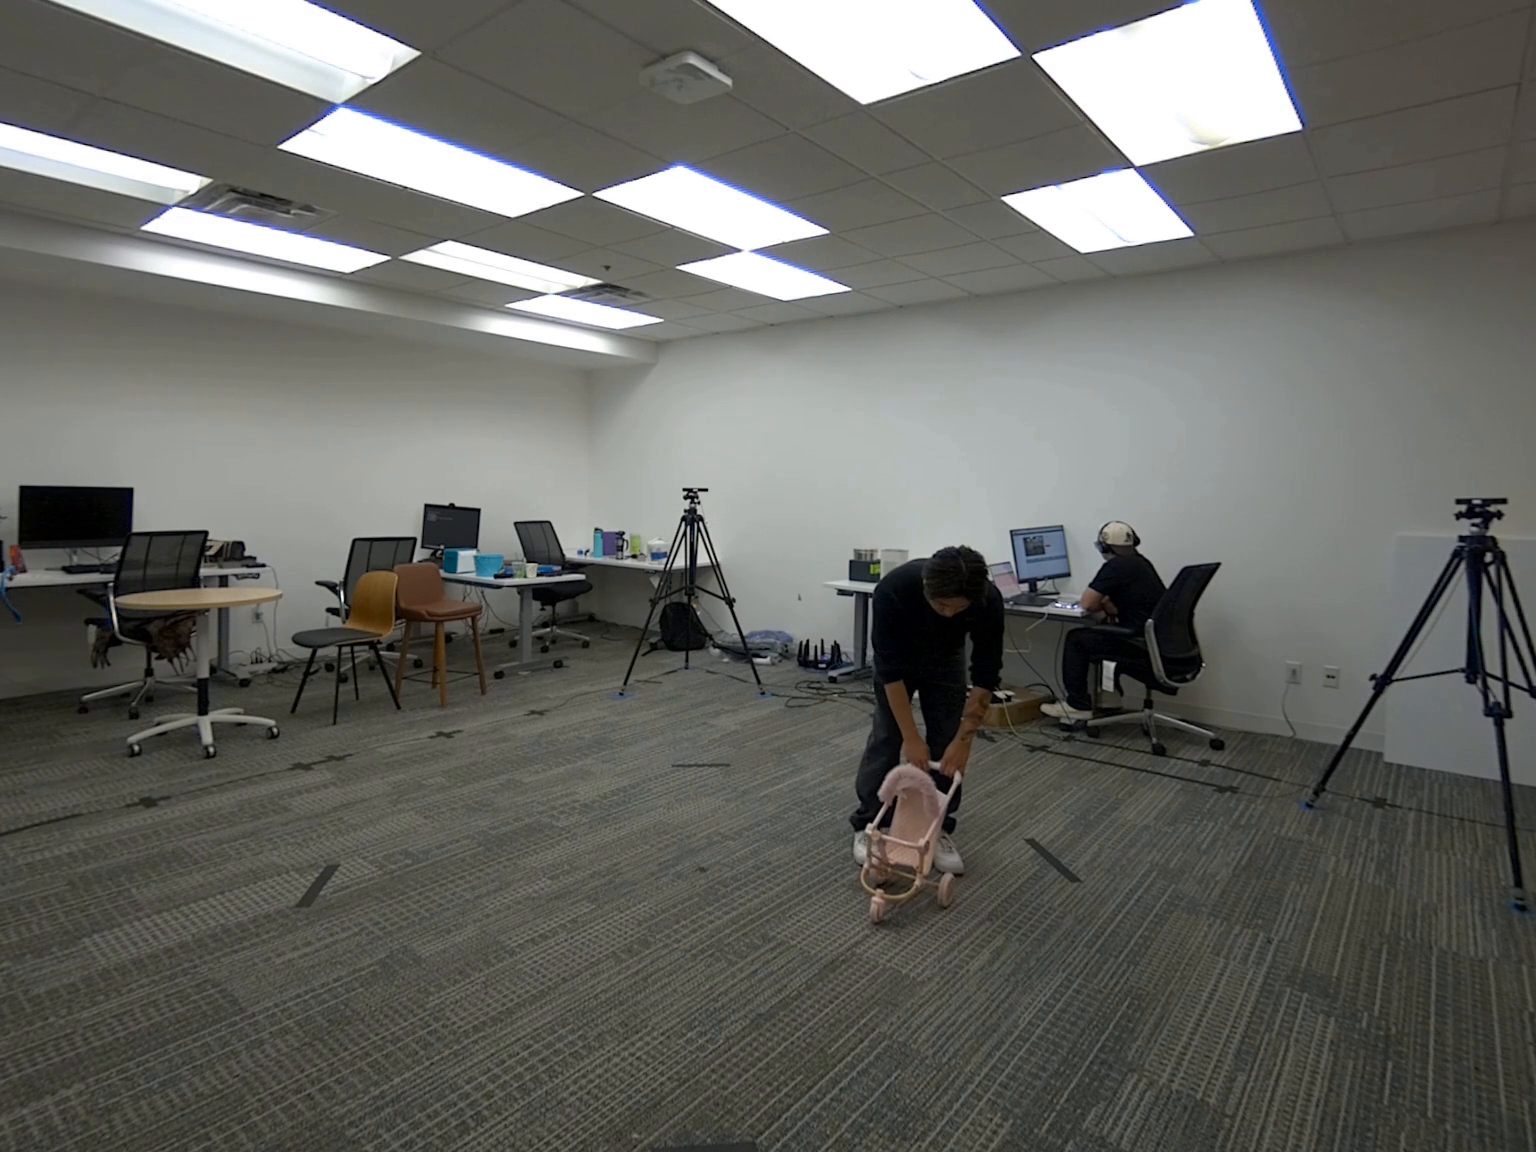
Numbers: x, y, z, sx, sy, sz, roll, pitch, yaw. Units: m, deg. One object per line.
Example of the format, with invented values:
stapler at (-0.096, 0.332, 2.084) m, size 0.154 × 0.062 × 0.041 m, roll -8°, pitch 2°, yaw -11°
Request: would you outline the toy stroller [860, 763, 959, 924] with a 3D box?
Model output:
toy stroller at (0.464, 0.884, 2.896) m, size 0.291 × 0.539 × 0.328 m, roll 4°, pitch -12°, yaw 40°
